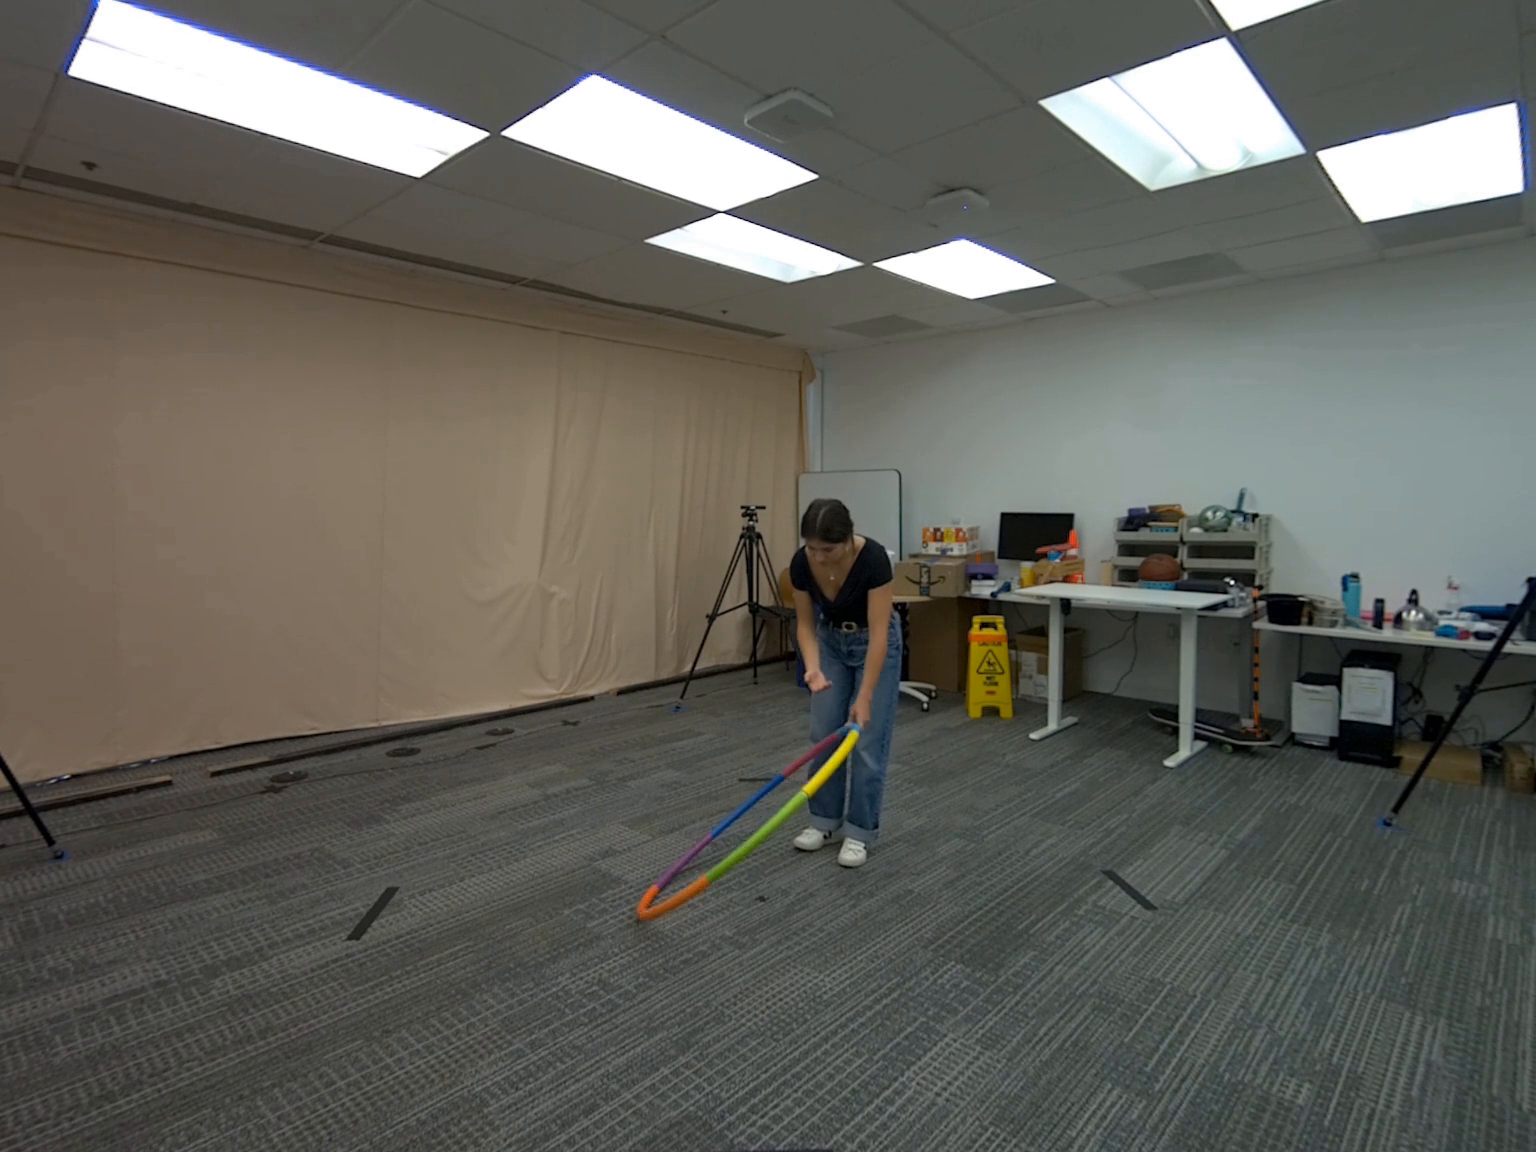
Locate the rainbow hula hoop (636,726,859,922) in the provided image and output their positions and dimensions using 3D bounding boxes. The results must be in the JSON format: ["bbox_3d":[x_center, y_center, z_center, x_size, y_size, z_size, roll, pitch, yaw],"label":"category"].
[{"bbox_3d":[-0.064,0.829,2.901,0.975,0.036,0.974,-38,-5,-8],"label":"rainbow hula hoop"}]
